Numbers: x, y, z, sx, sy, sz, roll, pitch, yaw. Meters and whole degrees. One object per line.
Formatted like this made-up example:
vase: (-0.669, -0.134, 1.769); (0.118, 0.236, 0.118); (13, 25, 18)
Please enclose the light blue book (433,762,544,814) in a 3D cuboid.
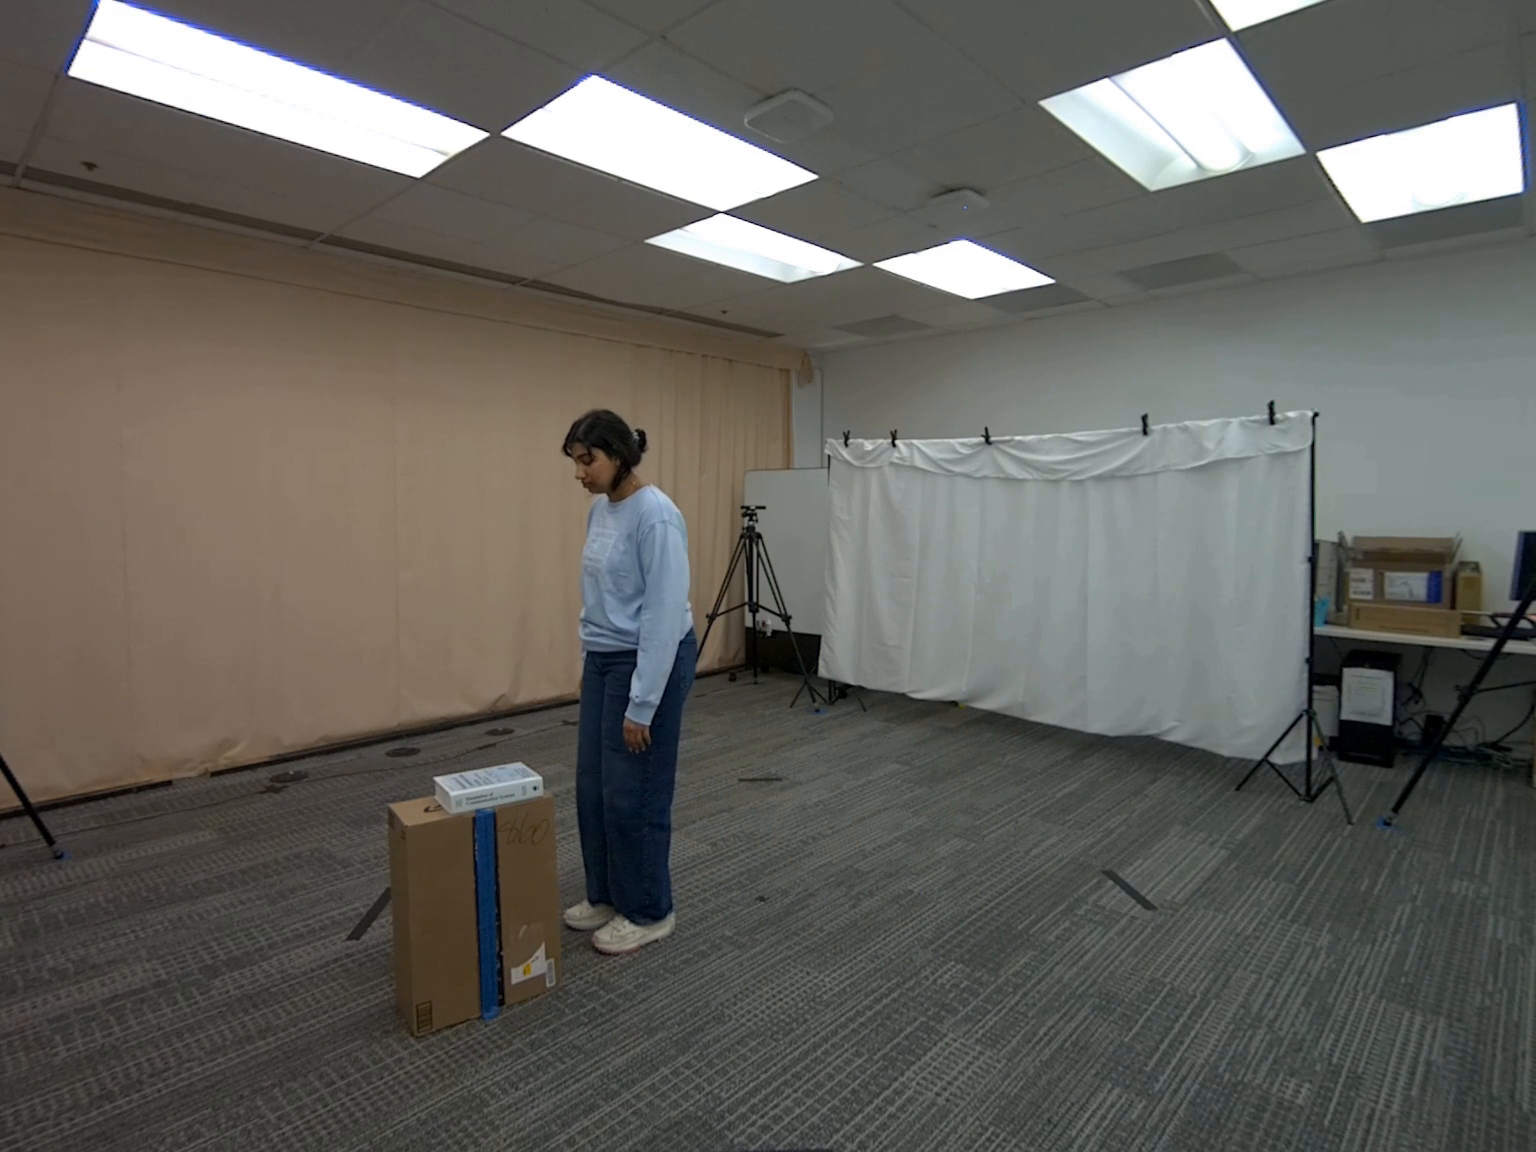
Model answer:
light blue book: (-0.803, 0.606, 2.413); (0.253, 0.059, 0.197); (-3, 4, -34)
